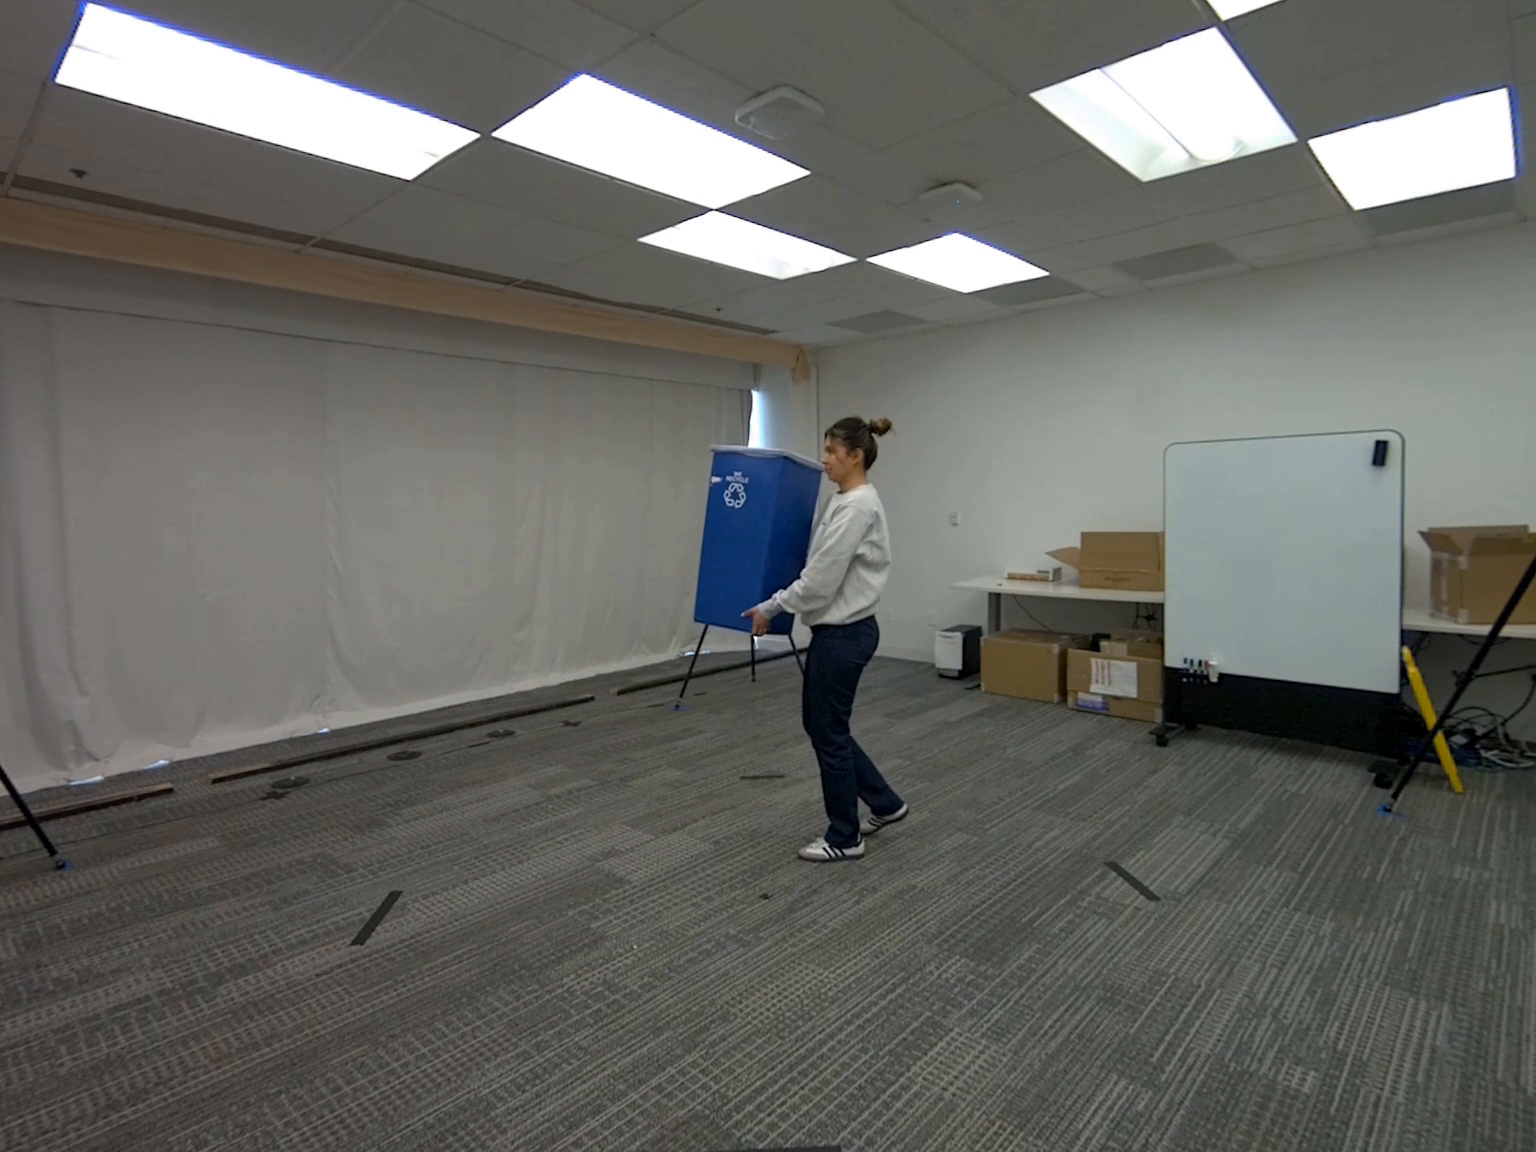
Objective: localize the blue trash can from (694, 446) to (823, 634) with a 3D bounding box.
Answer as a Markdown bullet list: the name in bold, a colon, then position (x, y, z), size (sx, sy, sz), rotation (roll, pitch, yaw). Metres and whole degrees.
- **blue trash can**: position (-0.036, -0.139, 3.434), size (0.386, 0.713, 0.366), rotation (8, 0, 32)
